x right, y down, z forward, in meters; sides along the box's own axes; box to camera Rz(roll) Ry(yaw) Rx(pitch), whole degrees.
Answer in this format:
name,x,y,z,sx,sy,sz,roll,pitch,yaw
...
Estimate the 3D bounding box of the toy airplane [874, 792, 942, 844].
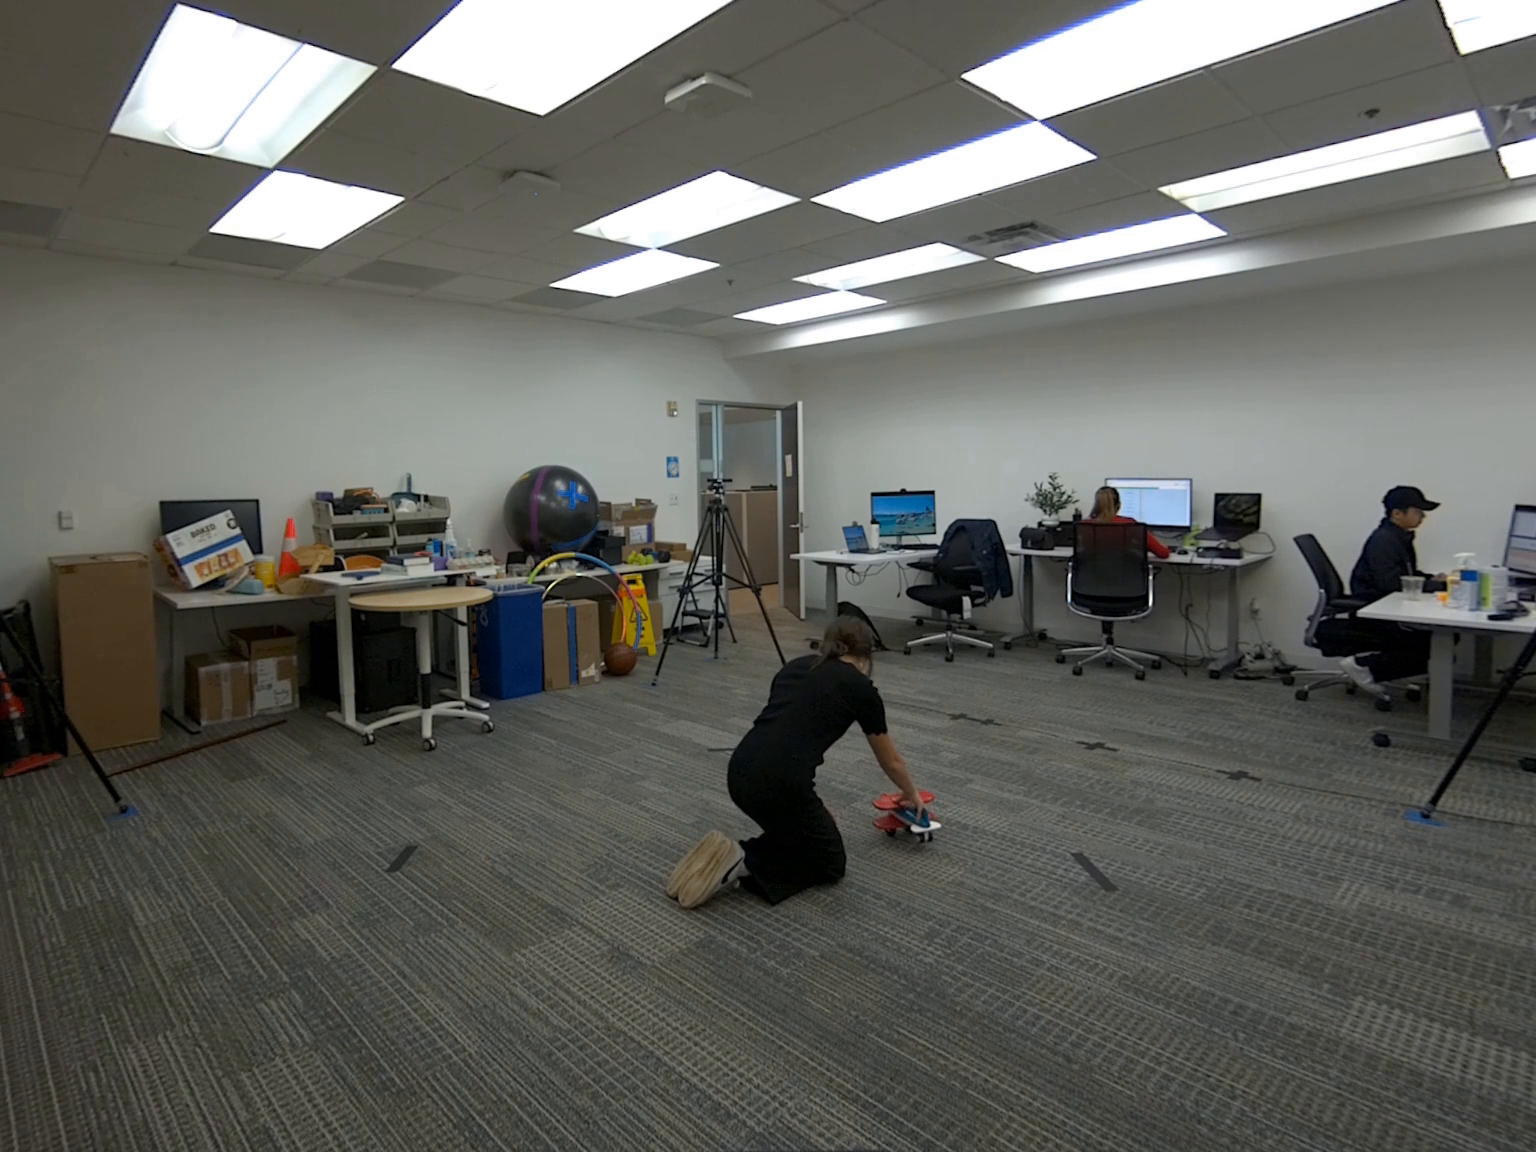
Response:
name,x,y,z,sx,sy,sz,roll,pitch,yaw
toy airplane,0.558,0.929,3.287,0.265,0.157,0.244,-10,-6,41
